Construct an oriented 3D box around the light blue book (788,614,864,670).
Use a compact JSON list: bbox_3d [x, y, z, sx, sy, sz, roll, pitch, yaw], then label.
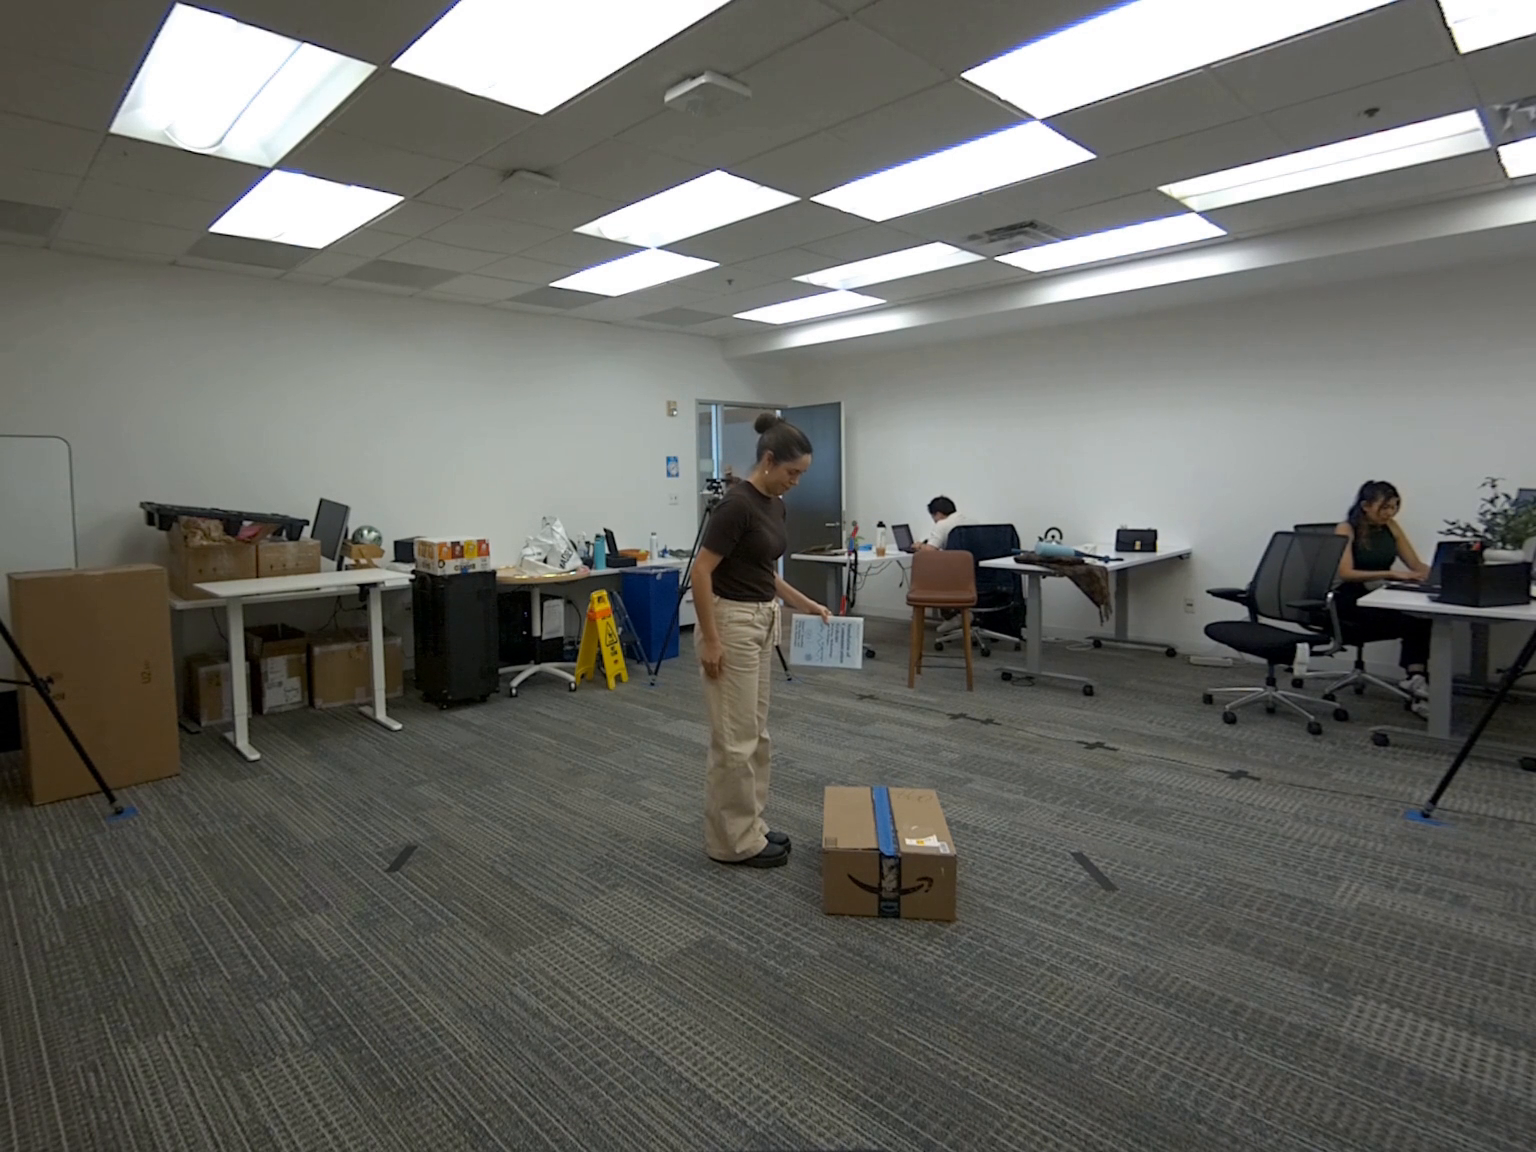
[{"bbox_3d":[0.213,0.245,3.159,0.263,0.193,0.058,0,-10,9],"label":"light blue book"}]
